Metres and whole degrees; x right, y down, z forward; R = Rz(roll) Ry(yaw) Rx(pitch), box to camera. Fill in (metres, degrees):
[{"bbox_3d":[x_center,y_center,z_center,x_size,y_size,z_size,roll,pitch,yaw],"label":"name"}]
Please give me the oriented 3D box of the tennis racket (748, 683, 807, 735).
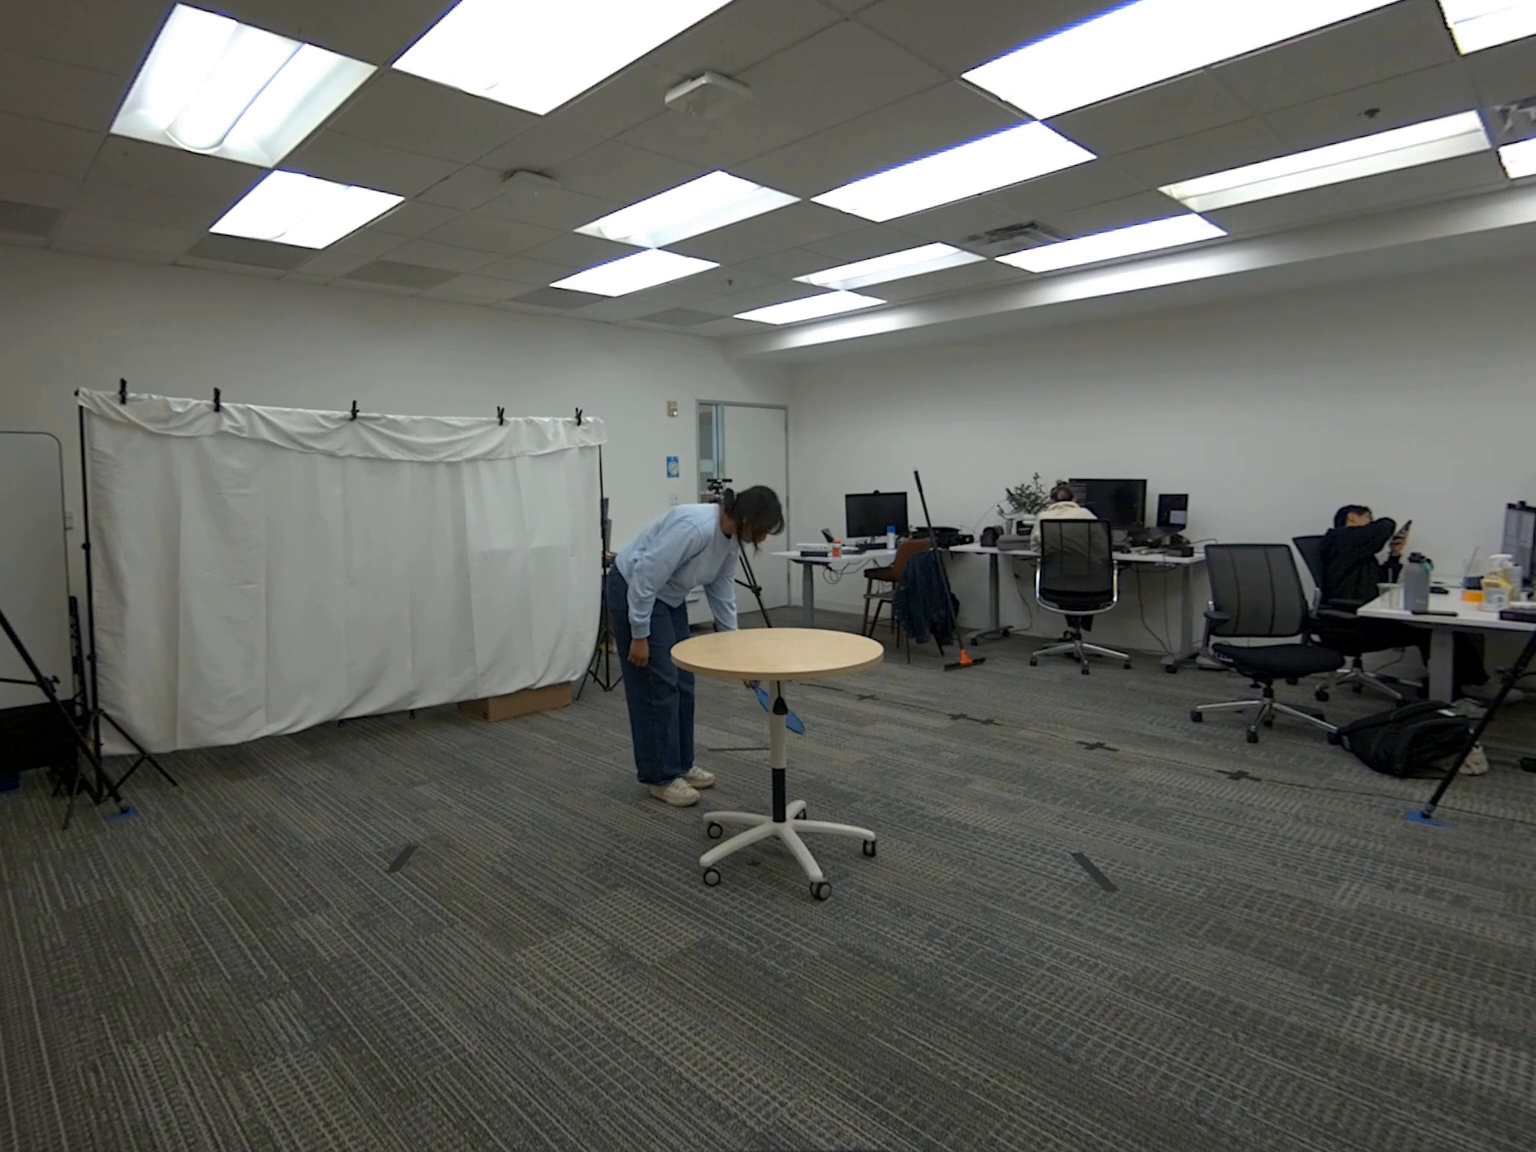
[{"bbox_3d":[-0.001,0.551,3.787,0.450,0.032,0.206,40,8,37],"label":"tennis racket"}]
